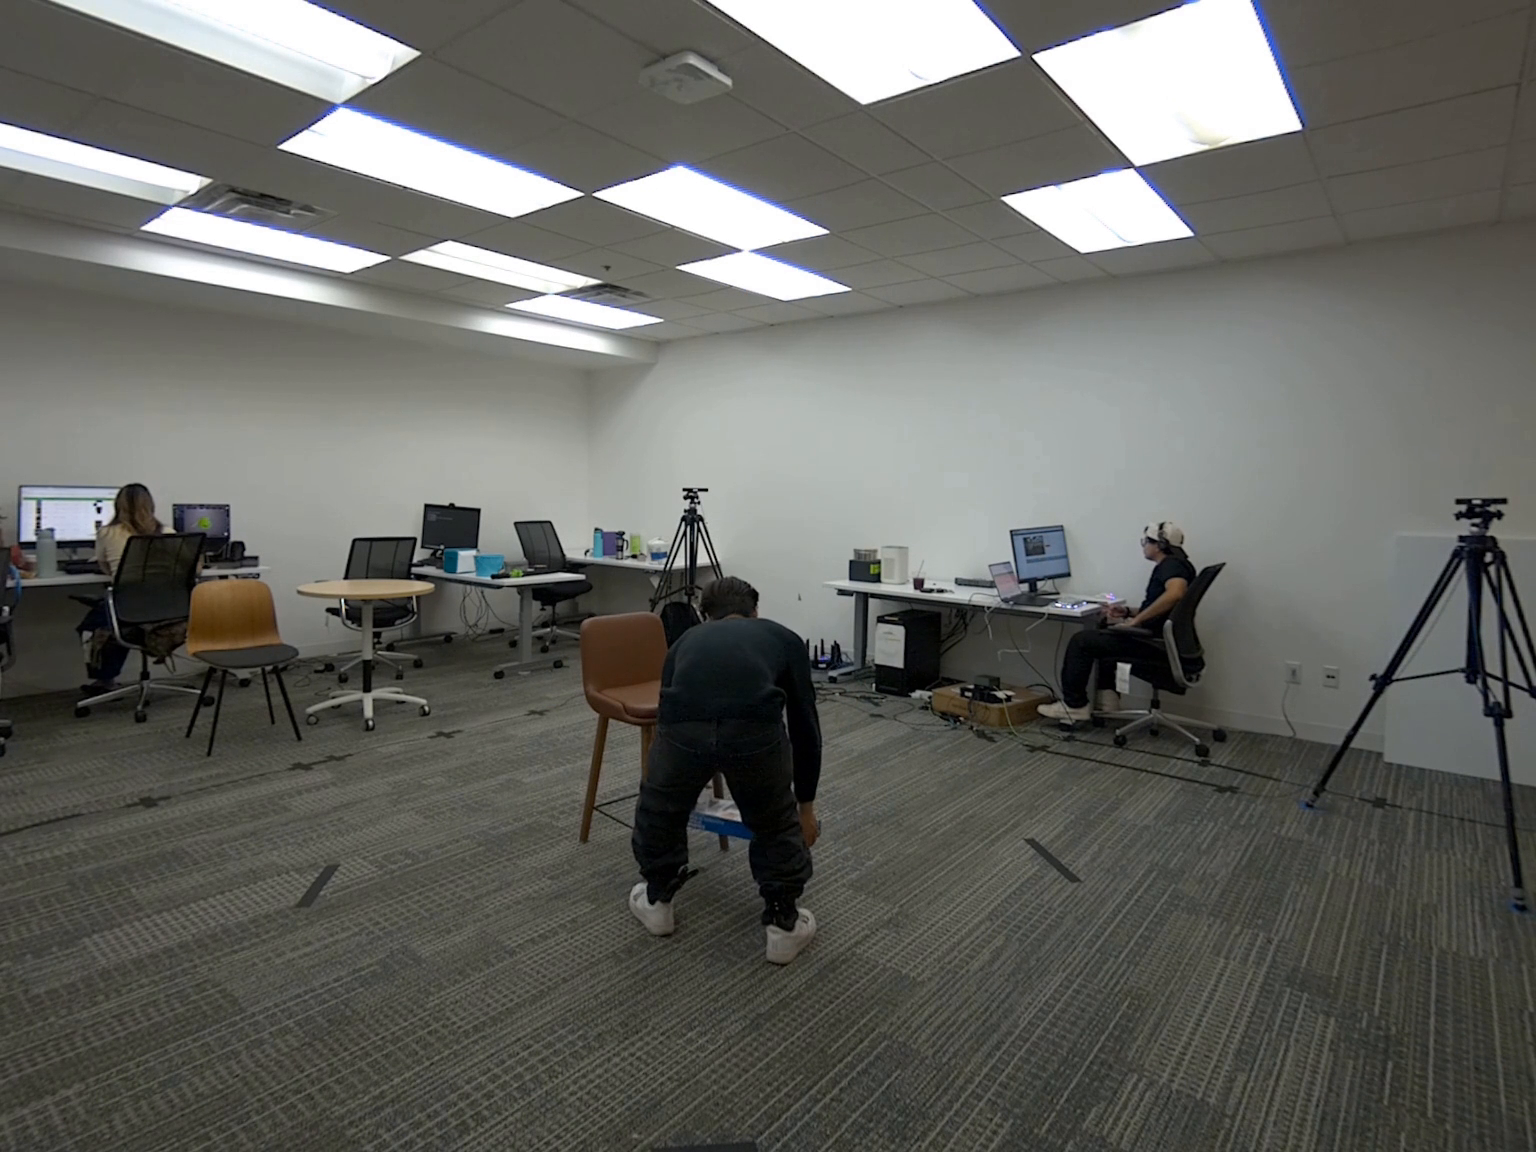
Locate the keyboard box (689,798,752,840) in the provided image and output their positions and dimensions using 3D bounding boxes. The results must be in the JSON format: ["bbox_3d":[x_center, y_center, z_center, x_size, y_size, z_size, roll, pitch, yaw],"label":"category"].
[{"bbox_3d":[-0.069,0.842,2.899,0.449,0.059,0.171,0,-1,31],"label":"keyboard box"}]
